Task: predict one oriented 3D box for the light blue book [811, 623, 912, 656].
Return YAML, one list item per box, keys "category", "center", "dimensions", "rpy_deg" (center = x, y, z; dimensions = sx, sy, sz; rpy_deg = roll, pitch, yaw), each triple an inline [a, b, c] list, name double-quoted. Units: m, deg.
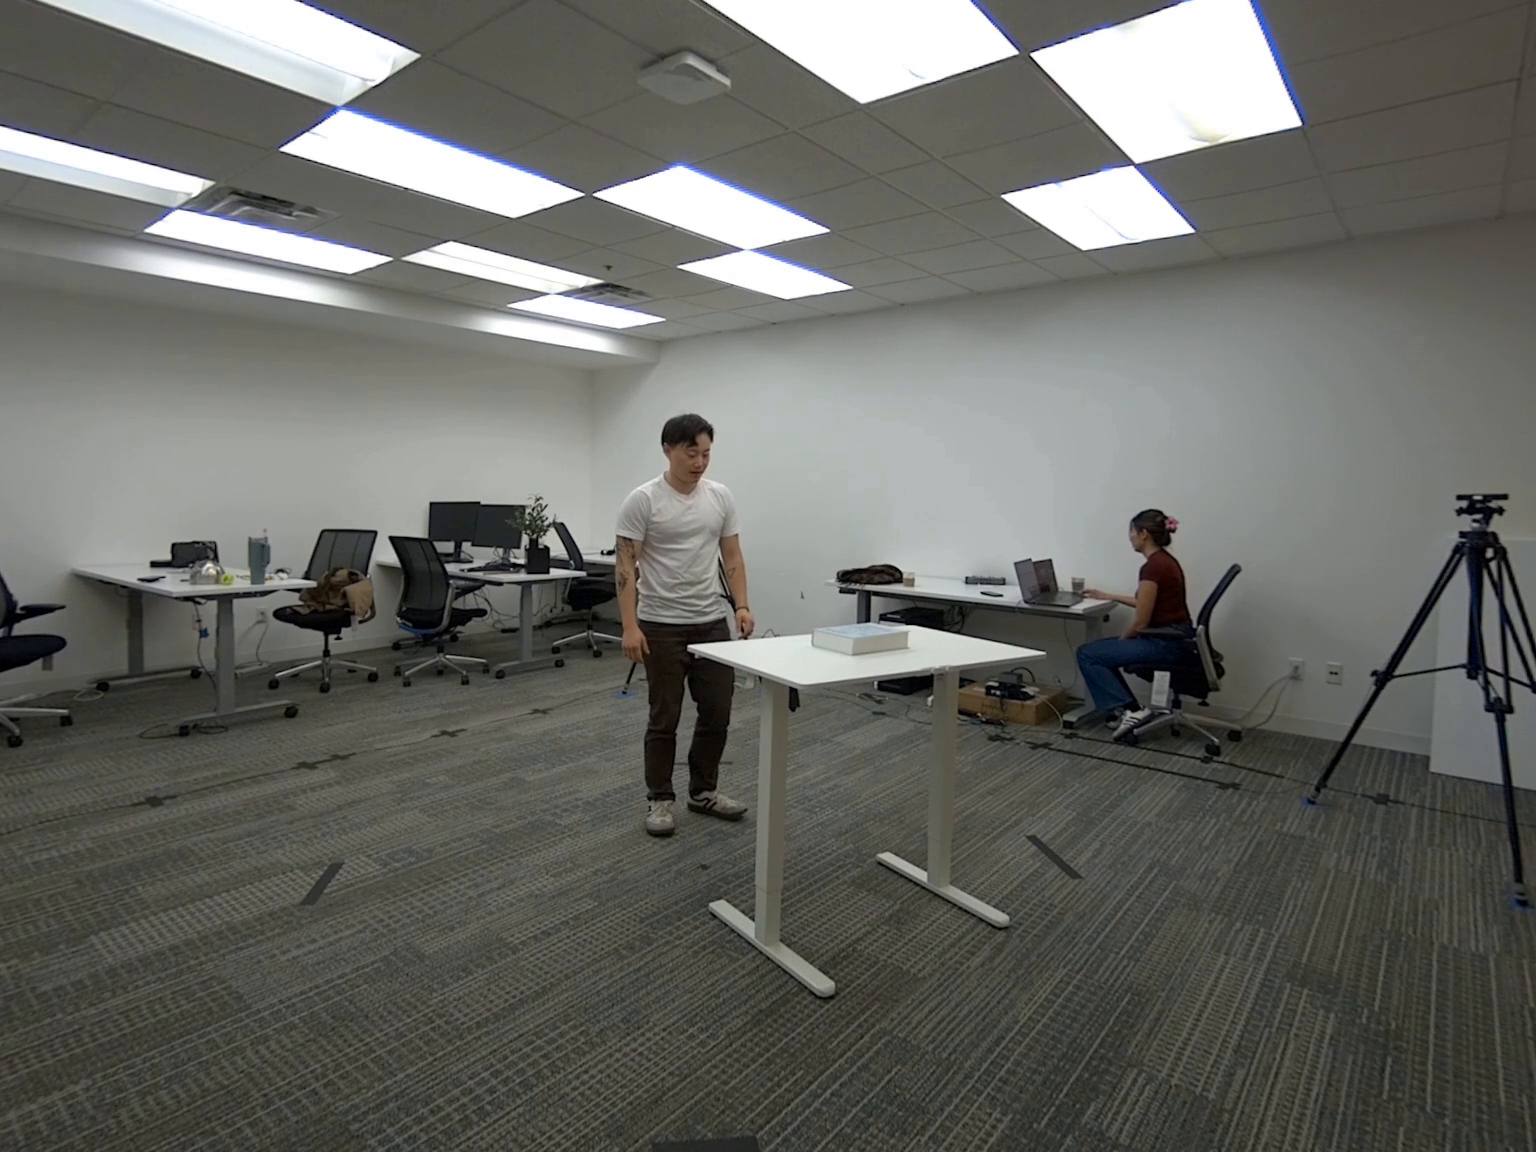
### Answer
- category: "light blue book"
  center: [0.308, 0.202, 2.758]
  dimensions: [0.253, 0.059, 0.198]
  rpy_deg: [-3, 7, -39]
